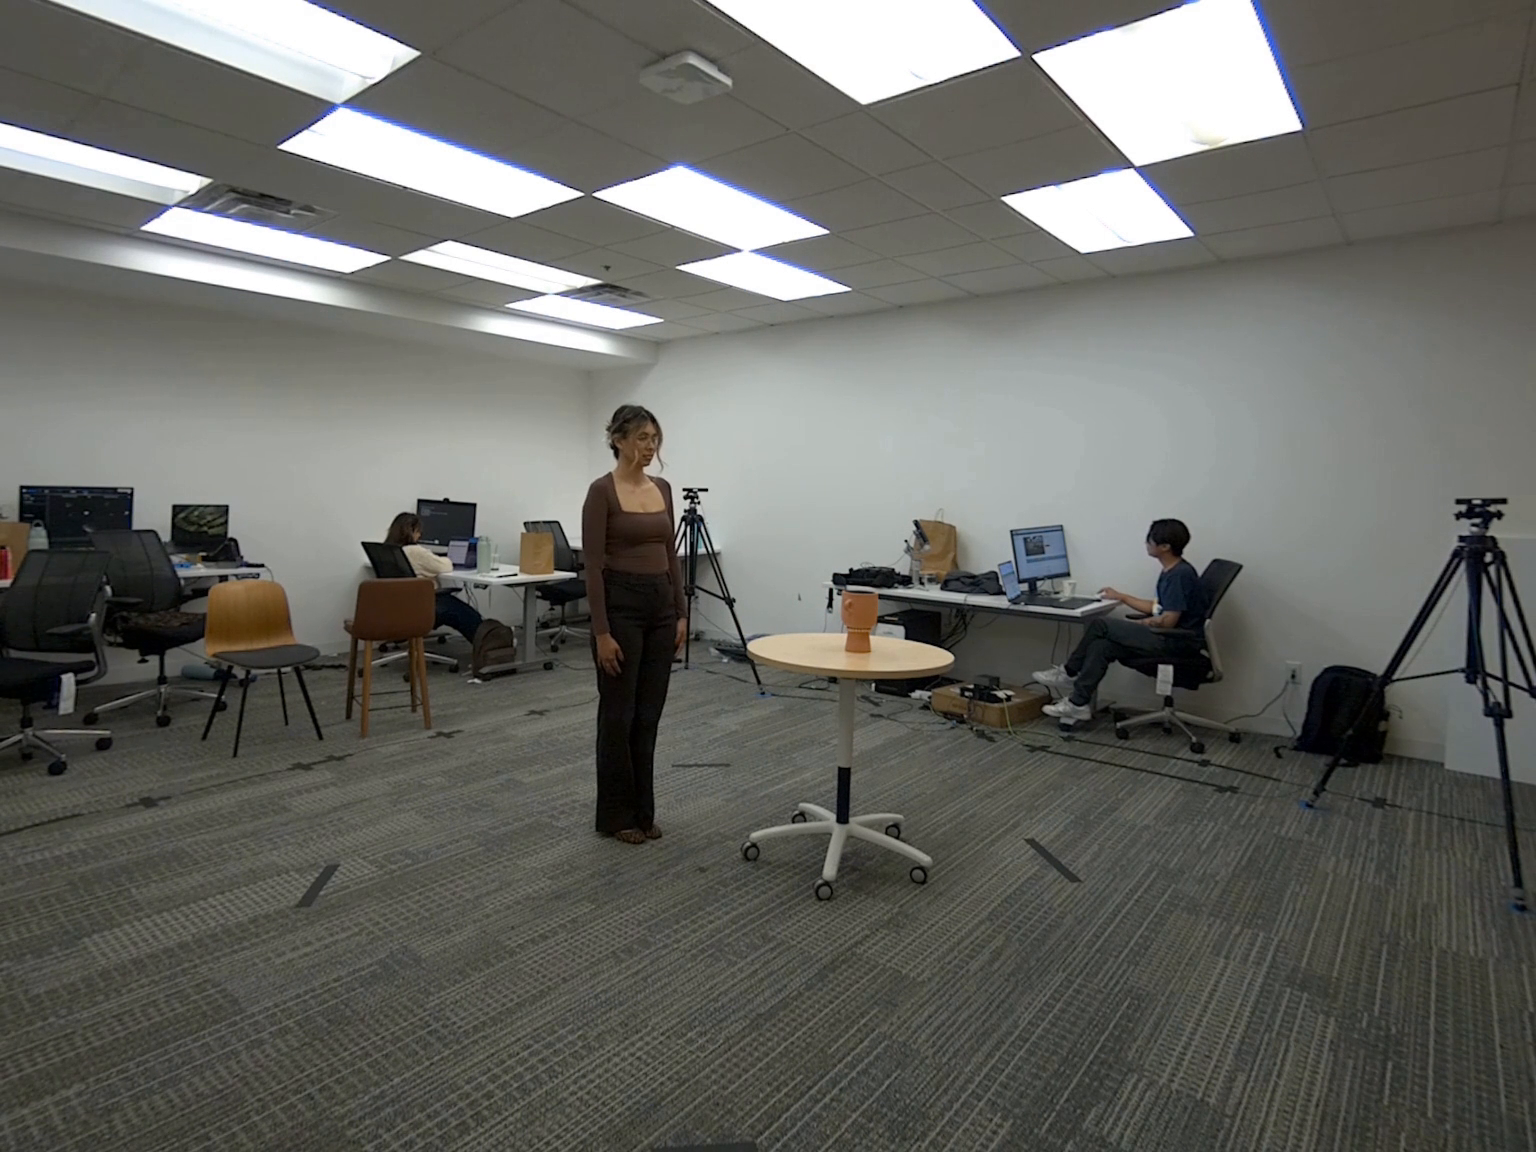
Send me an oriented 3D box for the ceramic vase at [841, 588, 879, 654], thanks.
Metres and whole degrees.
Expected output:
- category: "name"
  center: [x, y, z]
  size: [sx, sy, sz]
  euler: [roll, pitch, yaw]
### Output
- category: "ceramic vase"
  center: [0.338, 0.168, 3.191]
  size: [0.157, 0.219, 0.137]
  euler: [2, 3, -12]
